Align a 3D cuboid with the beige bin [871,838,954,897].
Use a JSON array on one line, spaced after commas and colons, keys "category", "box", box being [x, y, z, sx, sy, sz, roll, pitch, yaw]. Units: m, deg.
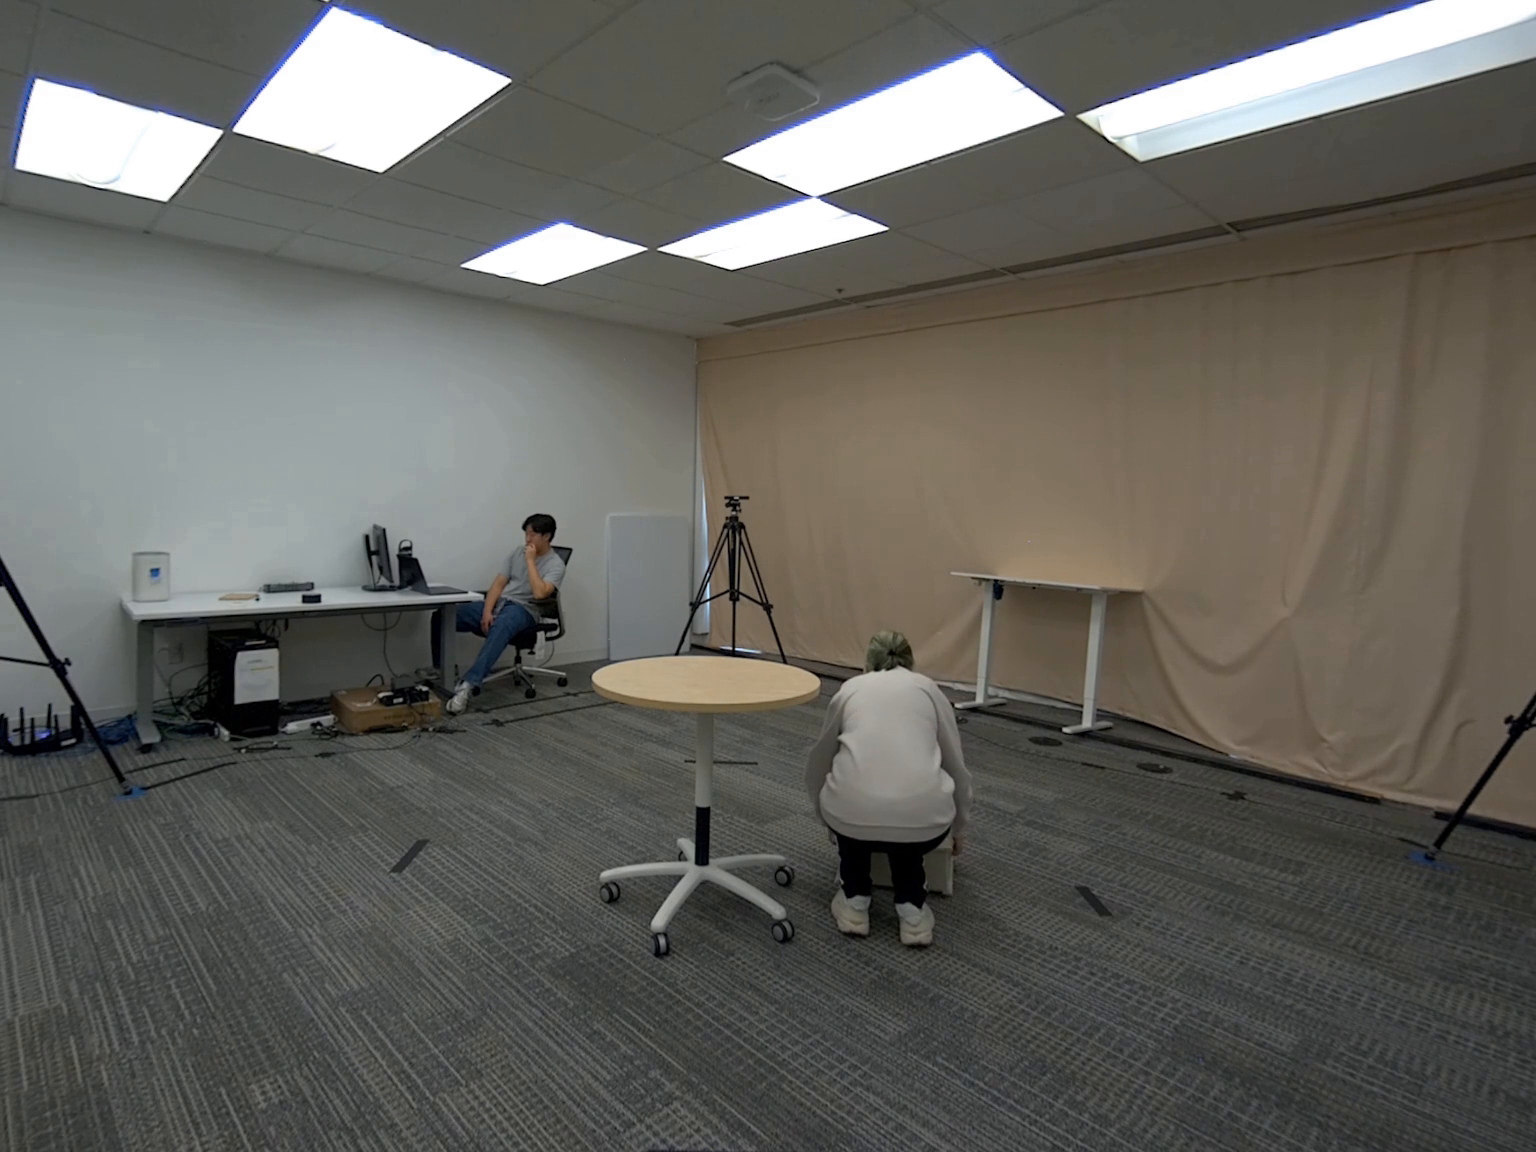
[{"category": "beige bin", "box": [0.476, 0.997, 3.155, 0.427, 0.188, 0.375, 0, 7, 14]}]
